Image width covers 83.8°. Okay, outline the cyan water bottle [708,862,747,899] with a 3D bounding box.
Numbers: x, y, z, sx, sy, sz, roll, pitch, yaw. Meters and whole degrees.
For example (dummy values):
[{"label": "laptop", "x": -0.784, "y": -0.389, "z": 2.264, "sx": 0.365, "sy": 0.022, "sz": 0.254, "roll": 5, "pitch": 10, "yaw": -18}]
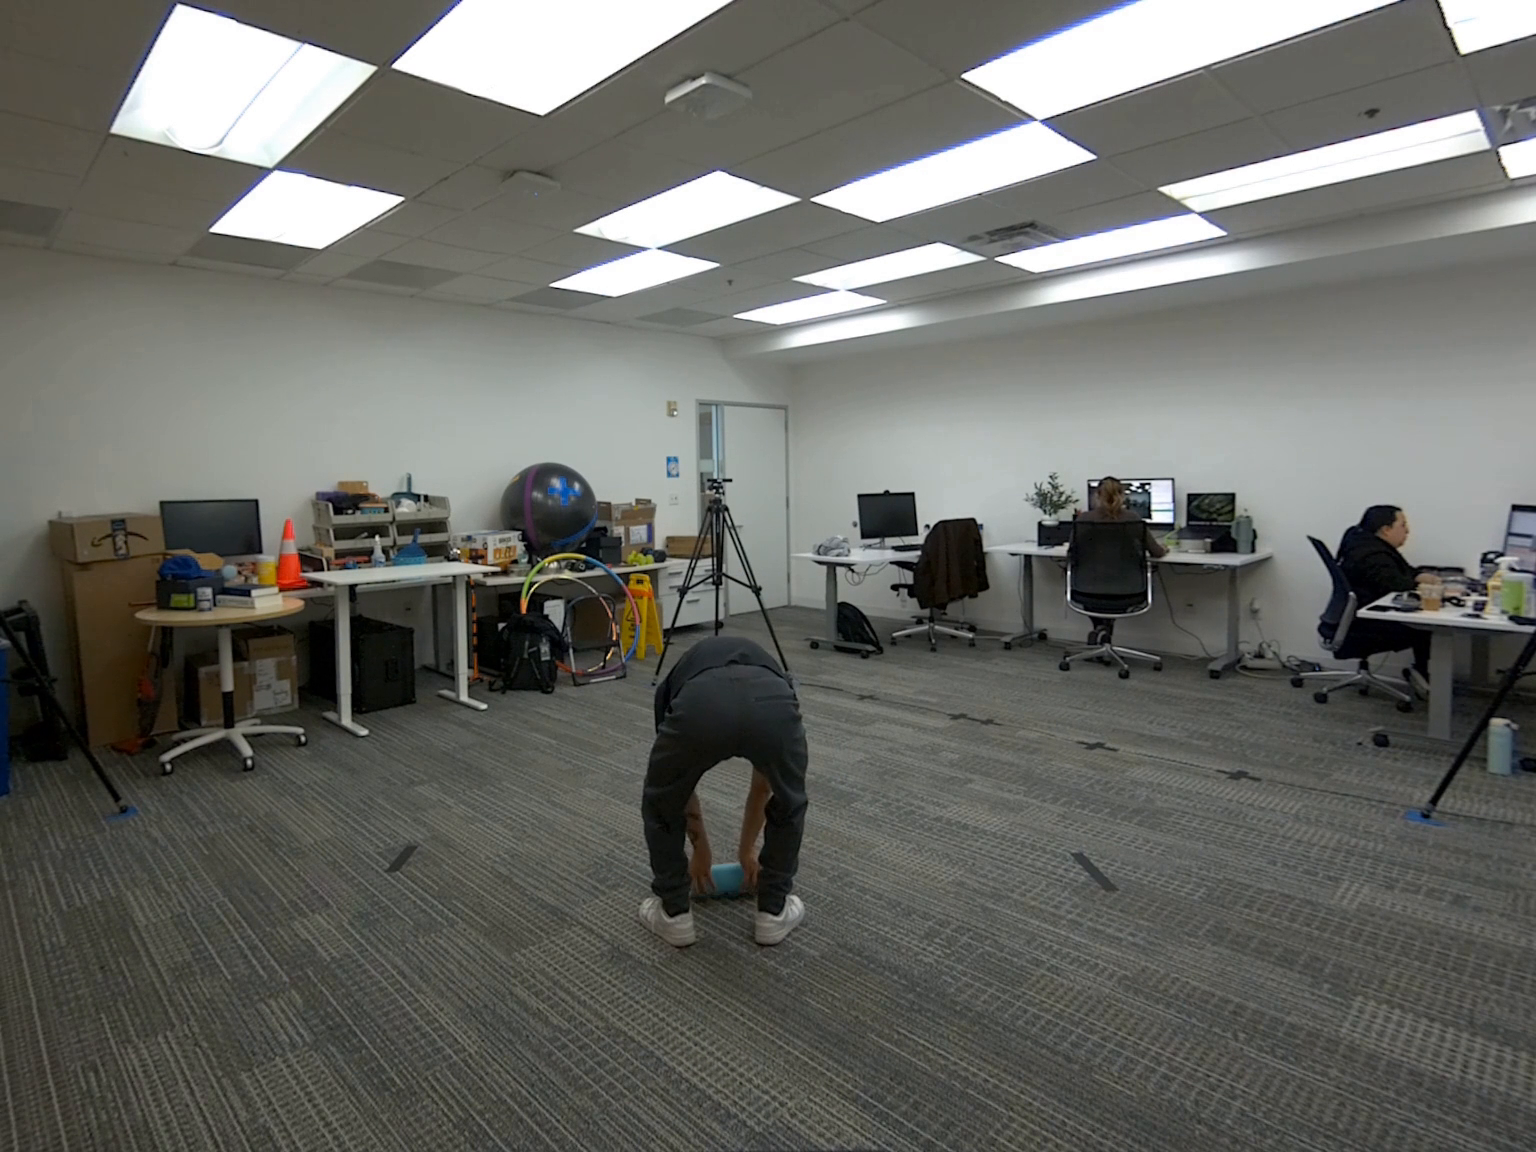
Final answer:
[{"label": "cyan water bottle", "x": -0.115, "y": 1.006, "z": 2.877, "sx": 0.281, "sy": 0.092, "sz": 0.093, "roll": 0, "pitch": 4, "yaw": -8}]
